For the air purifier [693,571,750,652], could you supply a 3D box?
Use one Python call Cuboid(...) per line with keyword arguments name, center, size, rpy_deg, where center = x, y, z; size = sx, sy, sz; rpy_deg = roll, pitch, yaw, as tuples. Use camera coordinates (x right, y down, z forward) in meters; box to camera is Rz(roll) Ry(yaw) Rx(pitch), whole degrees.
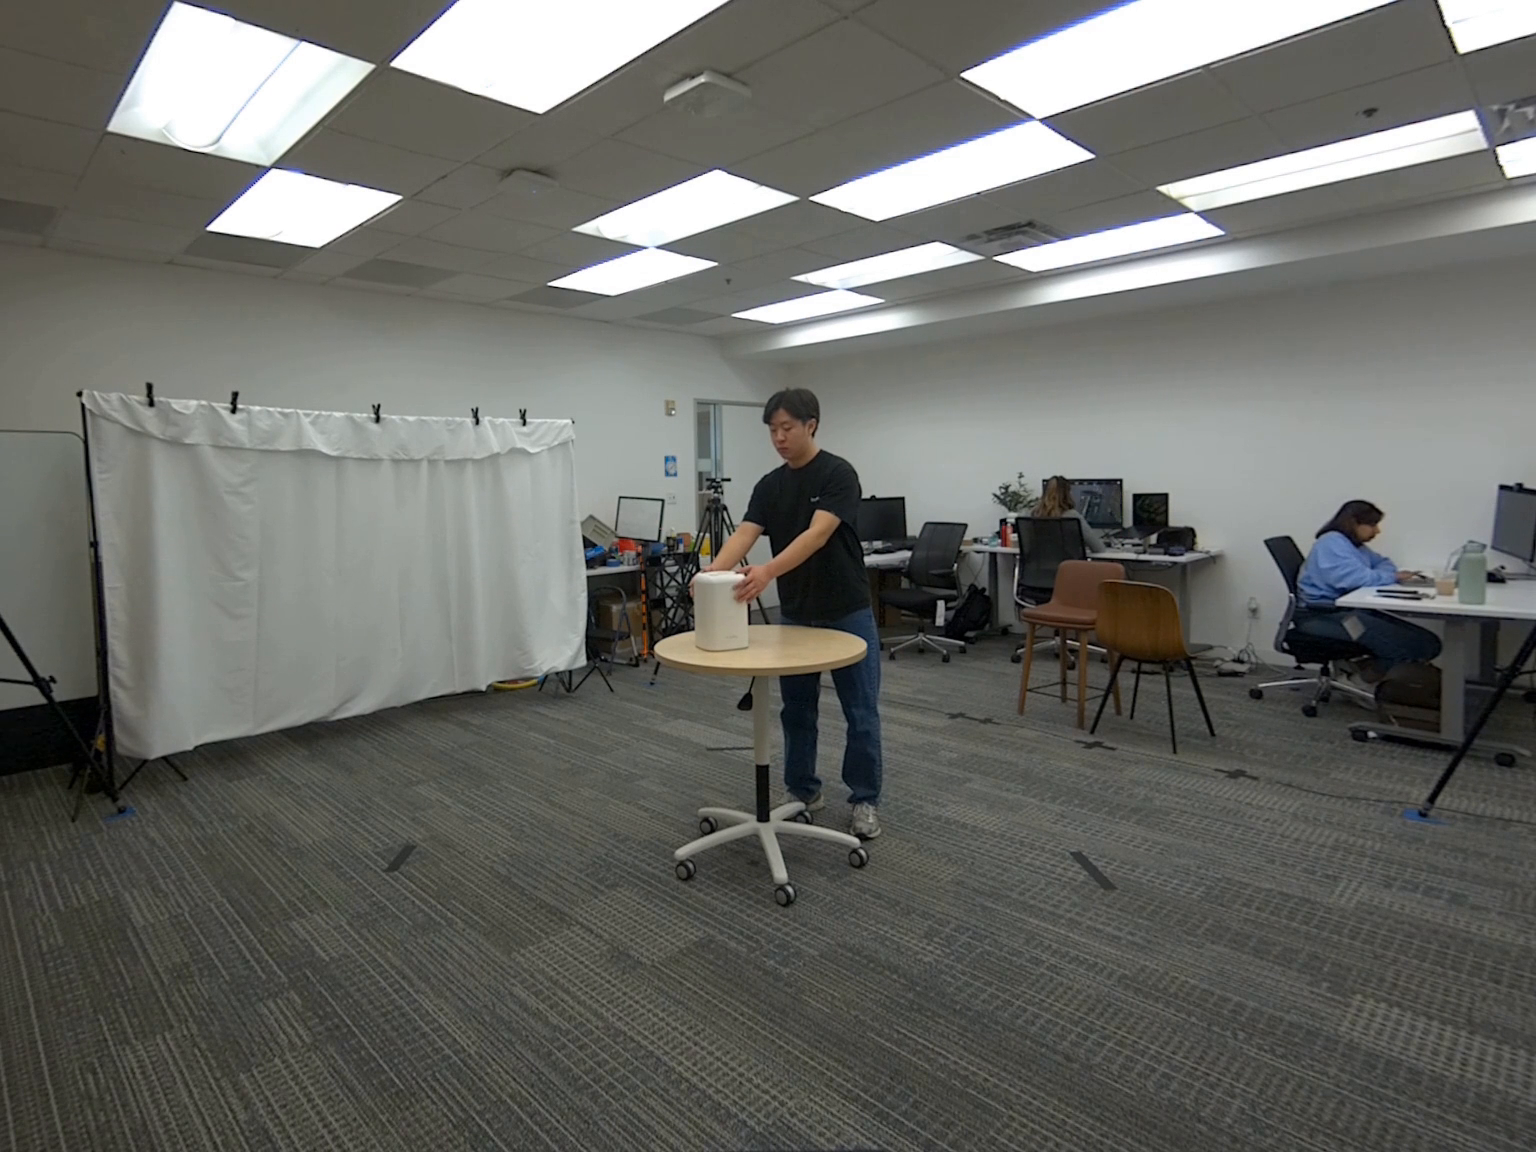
Cuboid(name="air purifier", center=(-0.168, 0.122, 3.061), size=(0.168, 0.265, 0.175), rpy_deg=(-4, 3, -22))
